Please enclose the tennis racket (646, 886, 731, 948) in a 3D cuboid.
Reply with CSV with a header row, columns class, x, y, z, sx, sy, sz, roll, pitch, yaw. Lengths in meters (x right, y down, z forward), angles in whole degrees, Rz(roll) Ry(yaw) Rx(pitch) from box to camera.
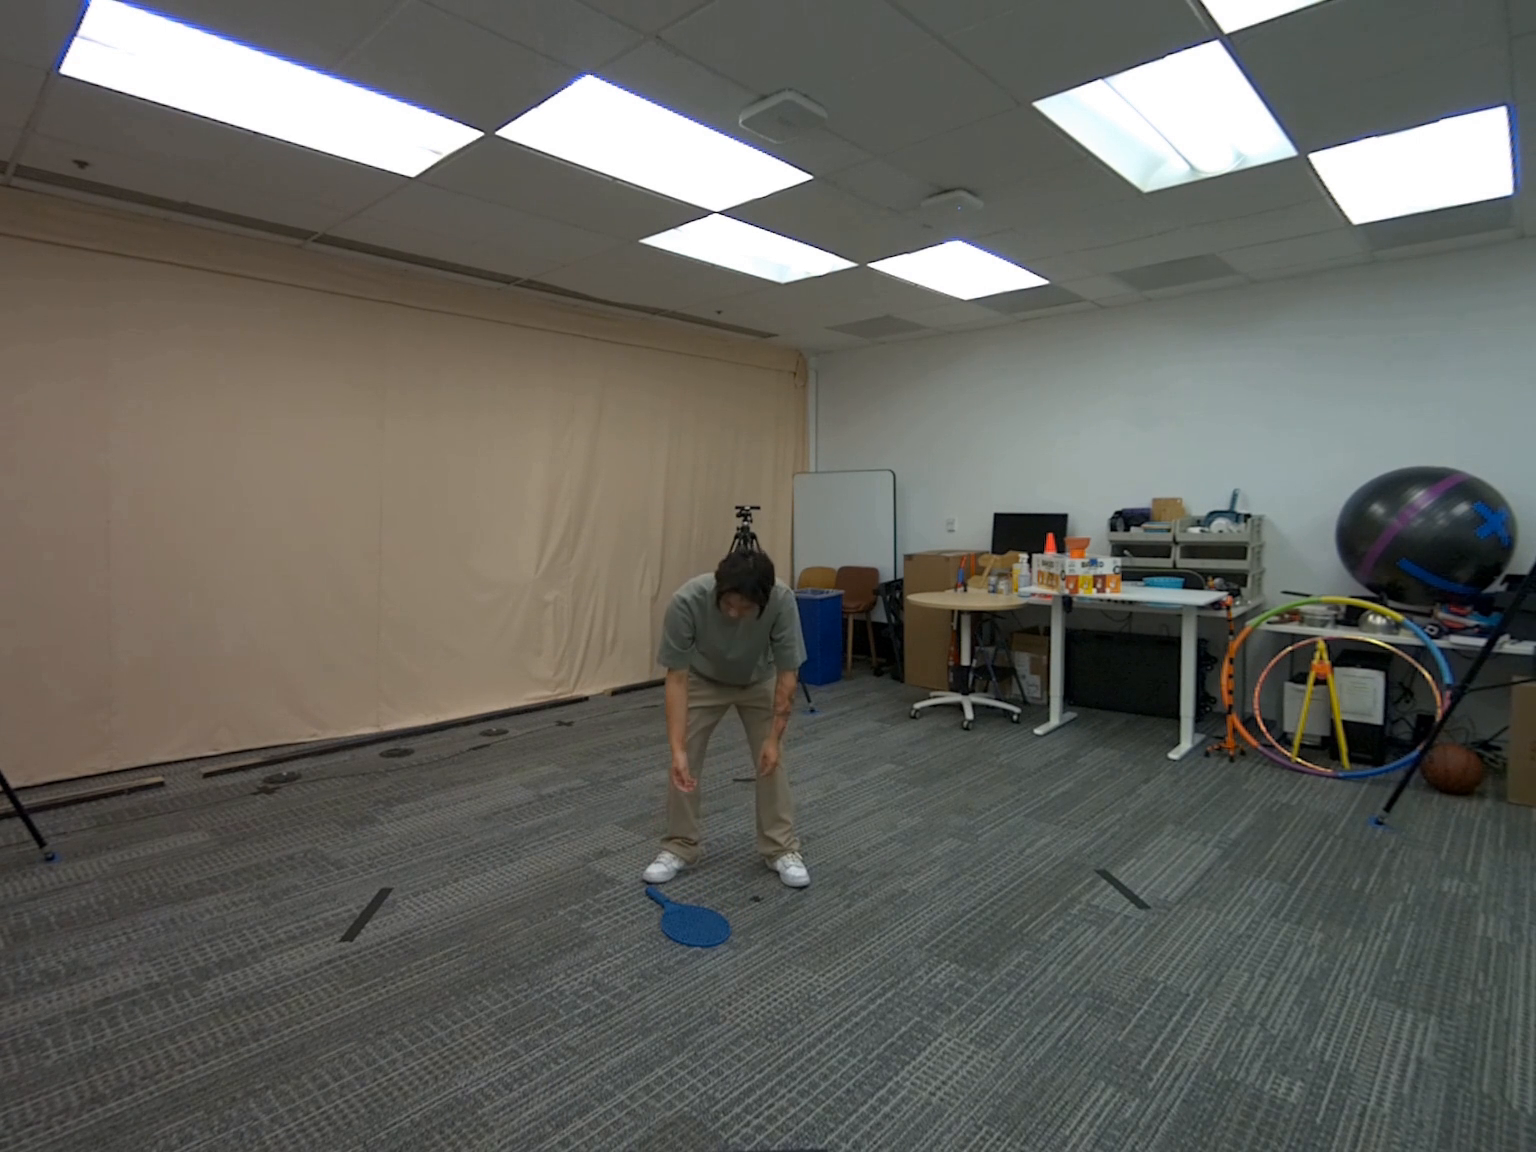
class,x,y,z,sx,sy,sz,roll,pitch,yaw
tennis racket,-0.284,1.144,2.848,0.207,0.031,0.447,-3,7,-35
